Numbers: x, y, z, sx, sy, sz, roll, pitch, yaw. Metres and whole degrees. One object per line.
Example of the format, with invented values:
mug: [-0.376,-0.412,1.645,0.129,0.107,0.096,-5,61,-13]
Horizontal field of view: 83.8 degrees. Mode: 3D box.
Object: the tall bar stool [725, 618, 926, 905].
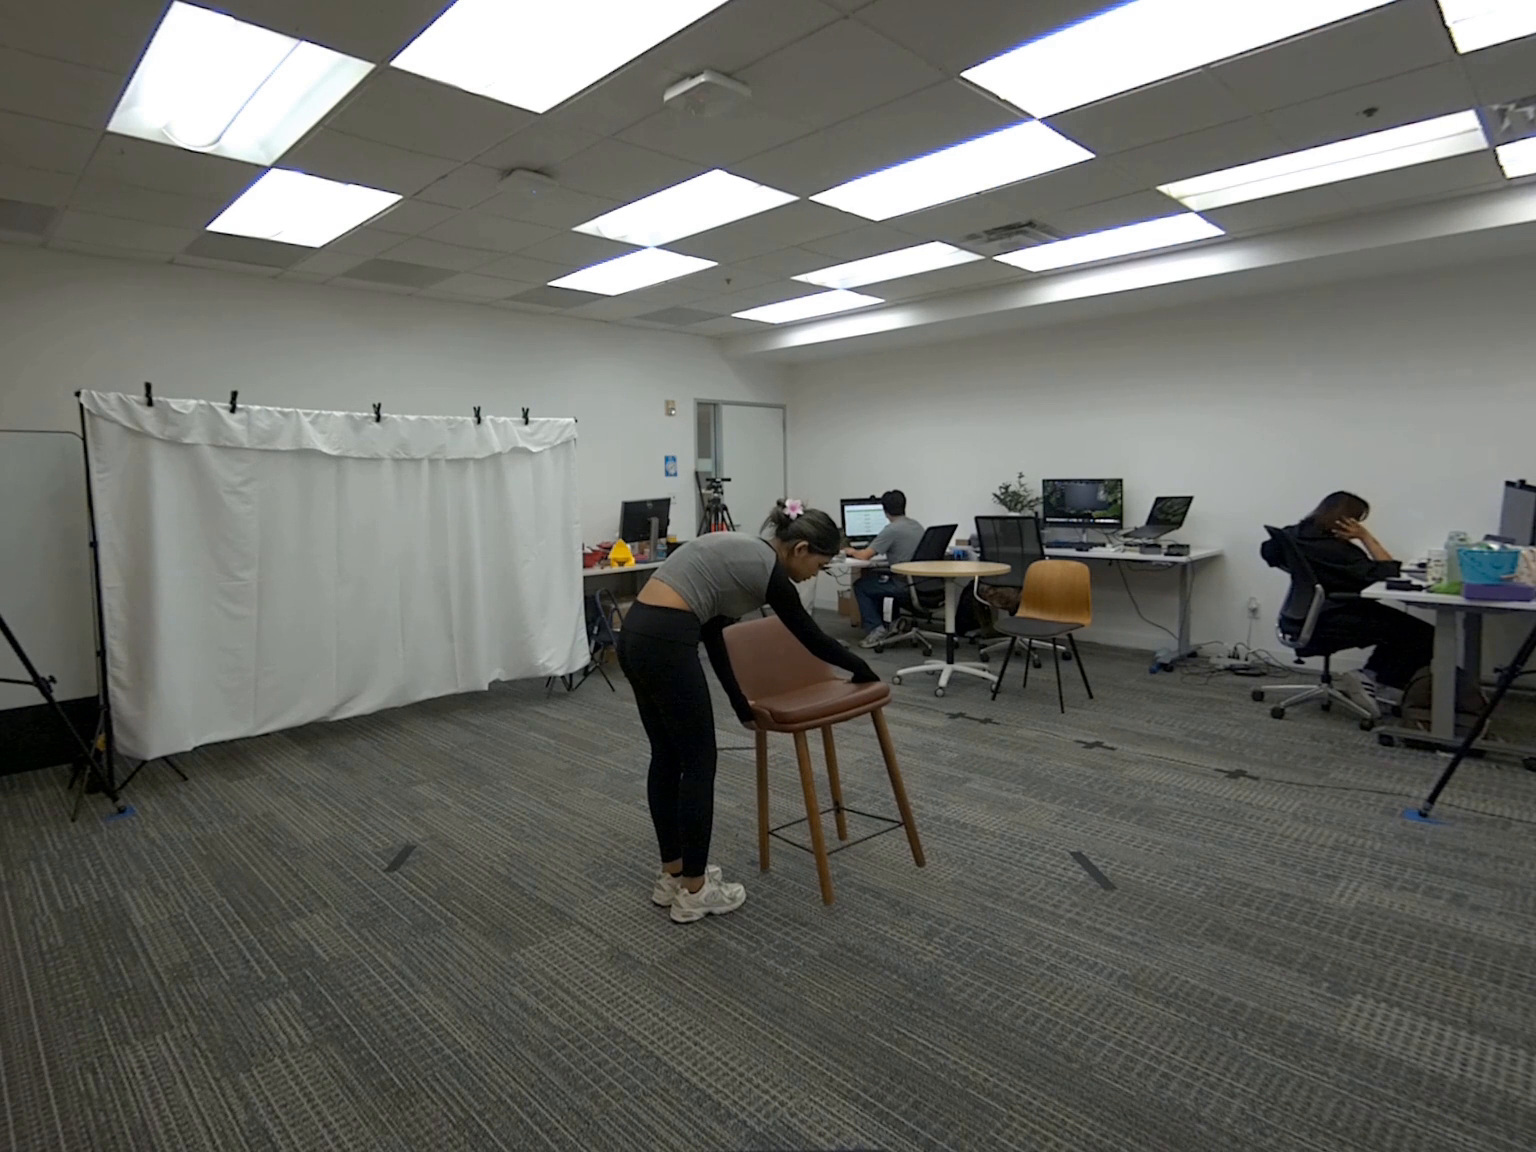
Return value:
tall bar stool: [0.171,0.581,2.959,0.447,0.892,0.476,-9,-2,-30]
